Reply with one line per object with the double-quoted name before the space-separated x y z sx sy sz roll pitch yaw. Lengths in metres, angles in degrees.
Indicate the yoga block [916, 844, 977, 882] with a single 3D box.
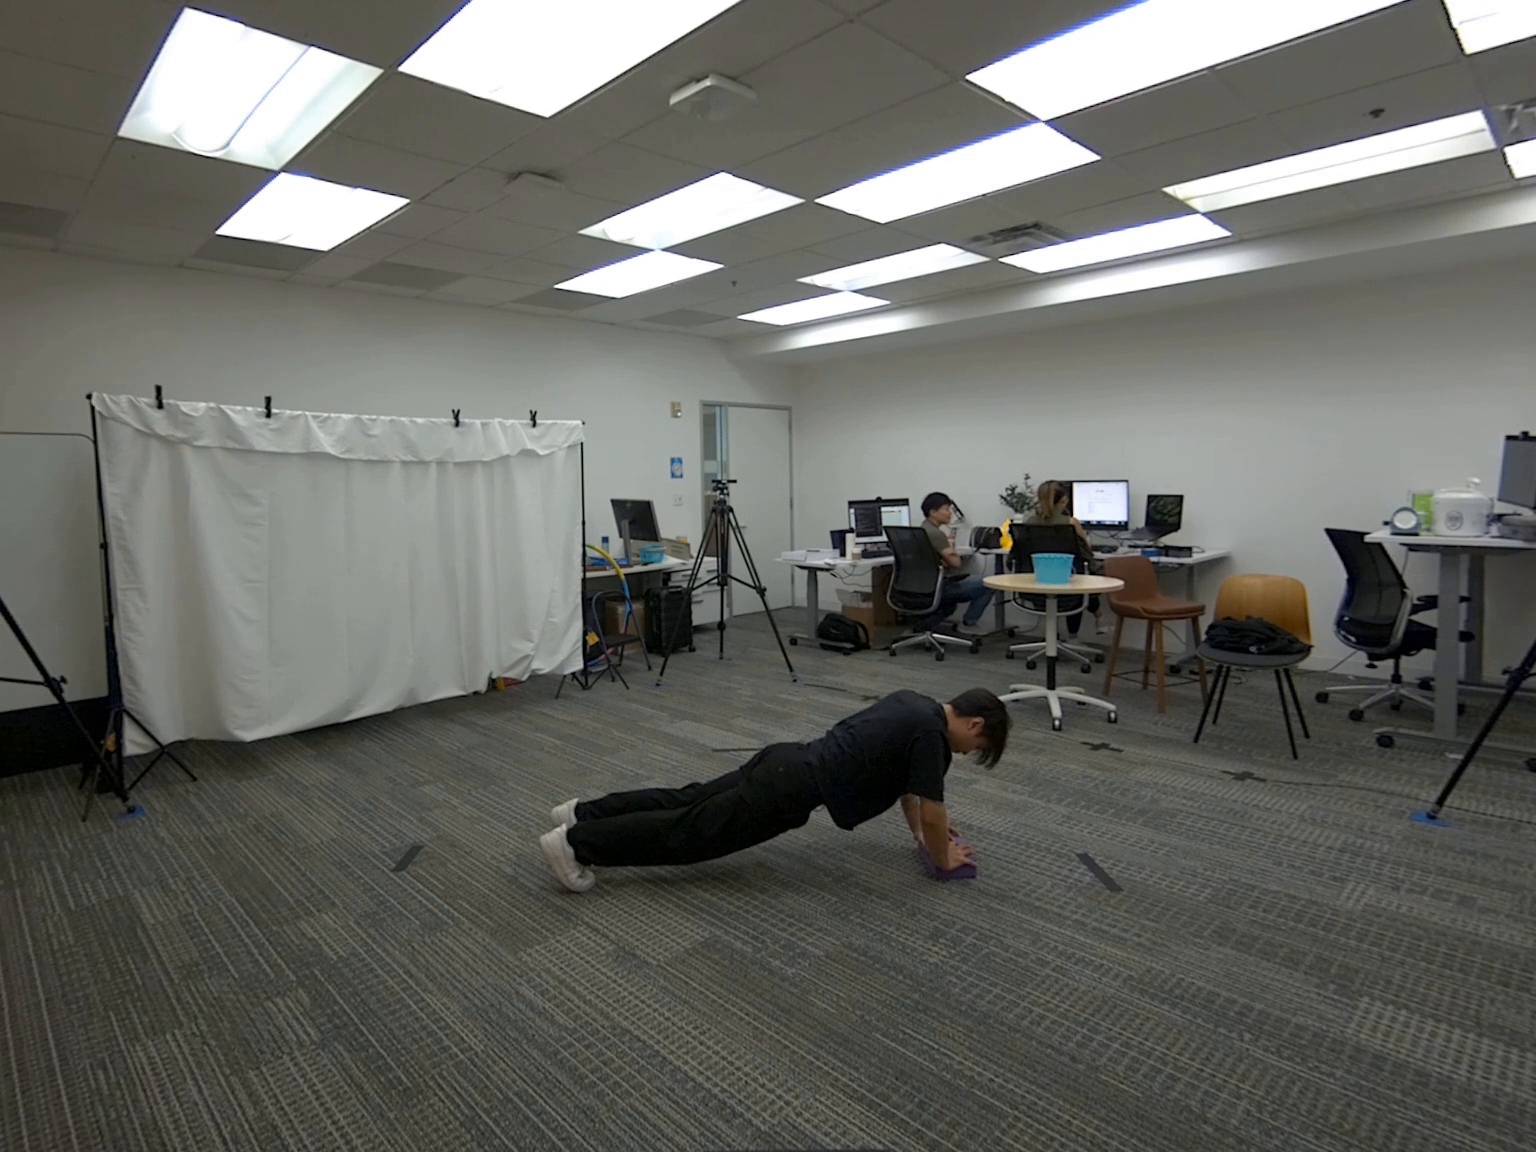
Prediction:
"yoga block" 0.641 1.004 3.061 0.148 0.076 0.232 -1 6 -7
